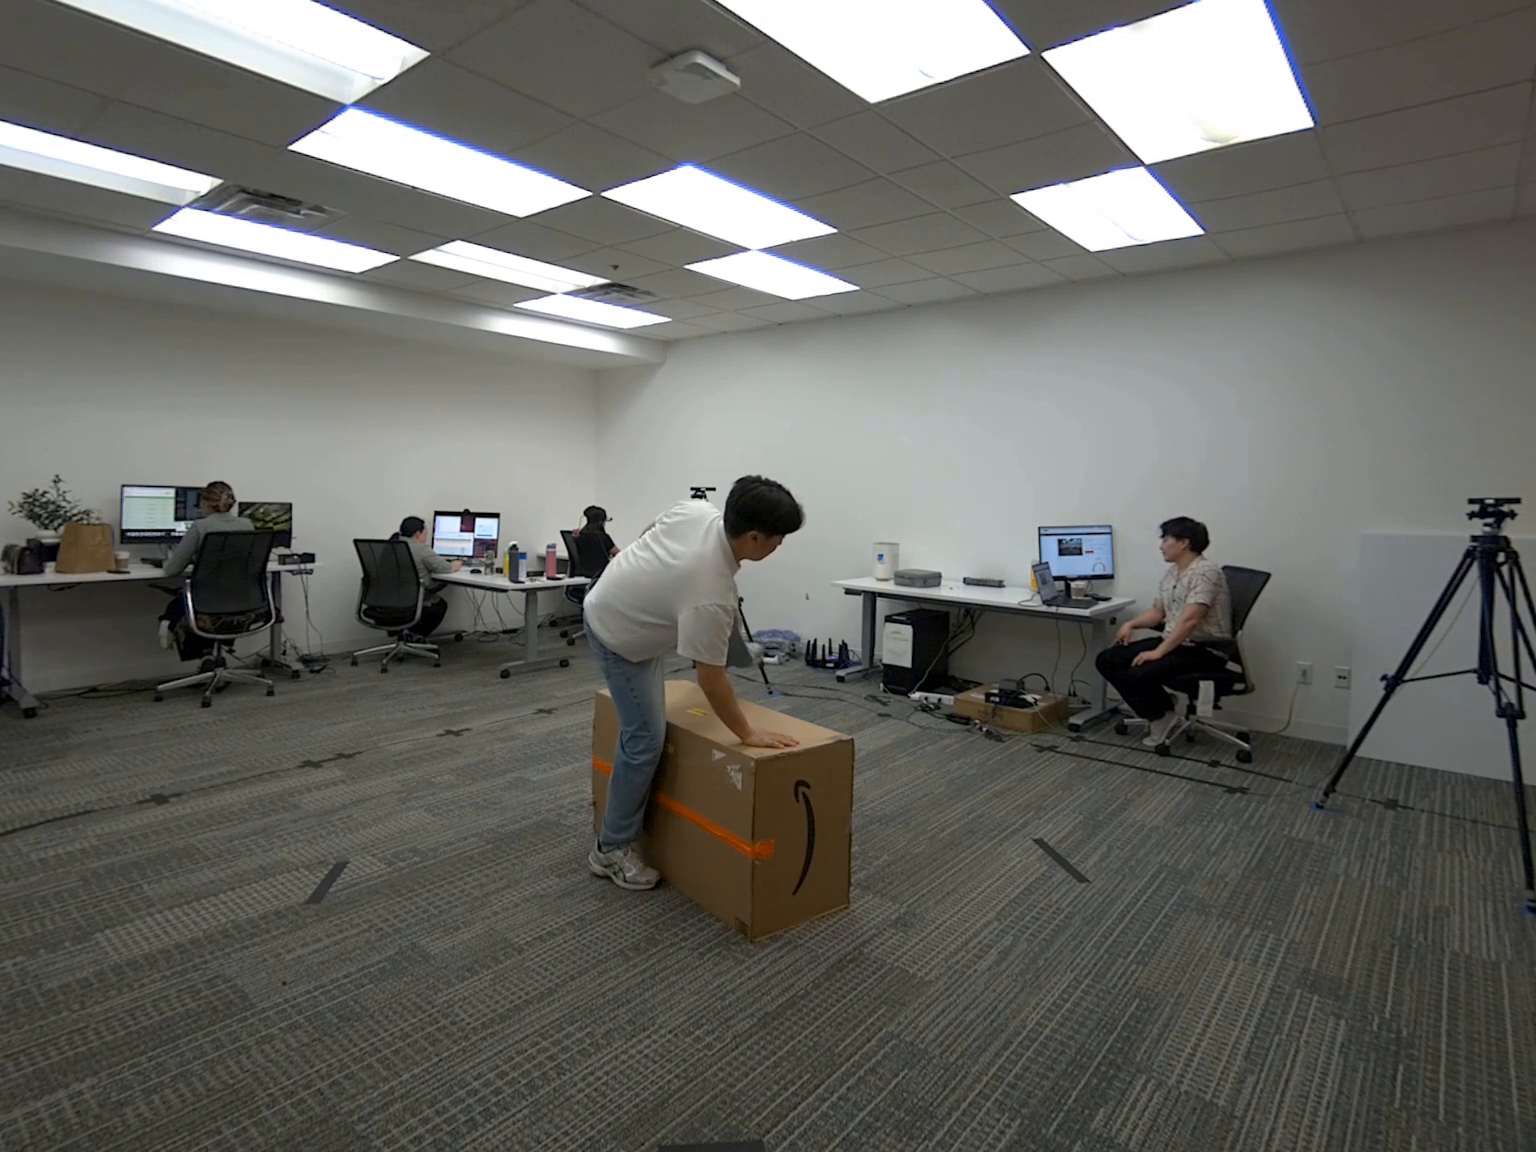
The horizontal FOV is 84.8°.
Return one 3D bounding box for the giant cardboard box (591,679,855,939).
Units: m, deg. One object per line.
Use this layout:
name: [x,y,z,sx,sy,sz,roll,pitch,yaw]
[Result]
giant cardboard box: [-0.214,0.779,3.115,0.413,0.575,1.061,-2,6,-38]
